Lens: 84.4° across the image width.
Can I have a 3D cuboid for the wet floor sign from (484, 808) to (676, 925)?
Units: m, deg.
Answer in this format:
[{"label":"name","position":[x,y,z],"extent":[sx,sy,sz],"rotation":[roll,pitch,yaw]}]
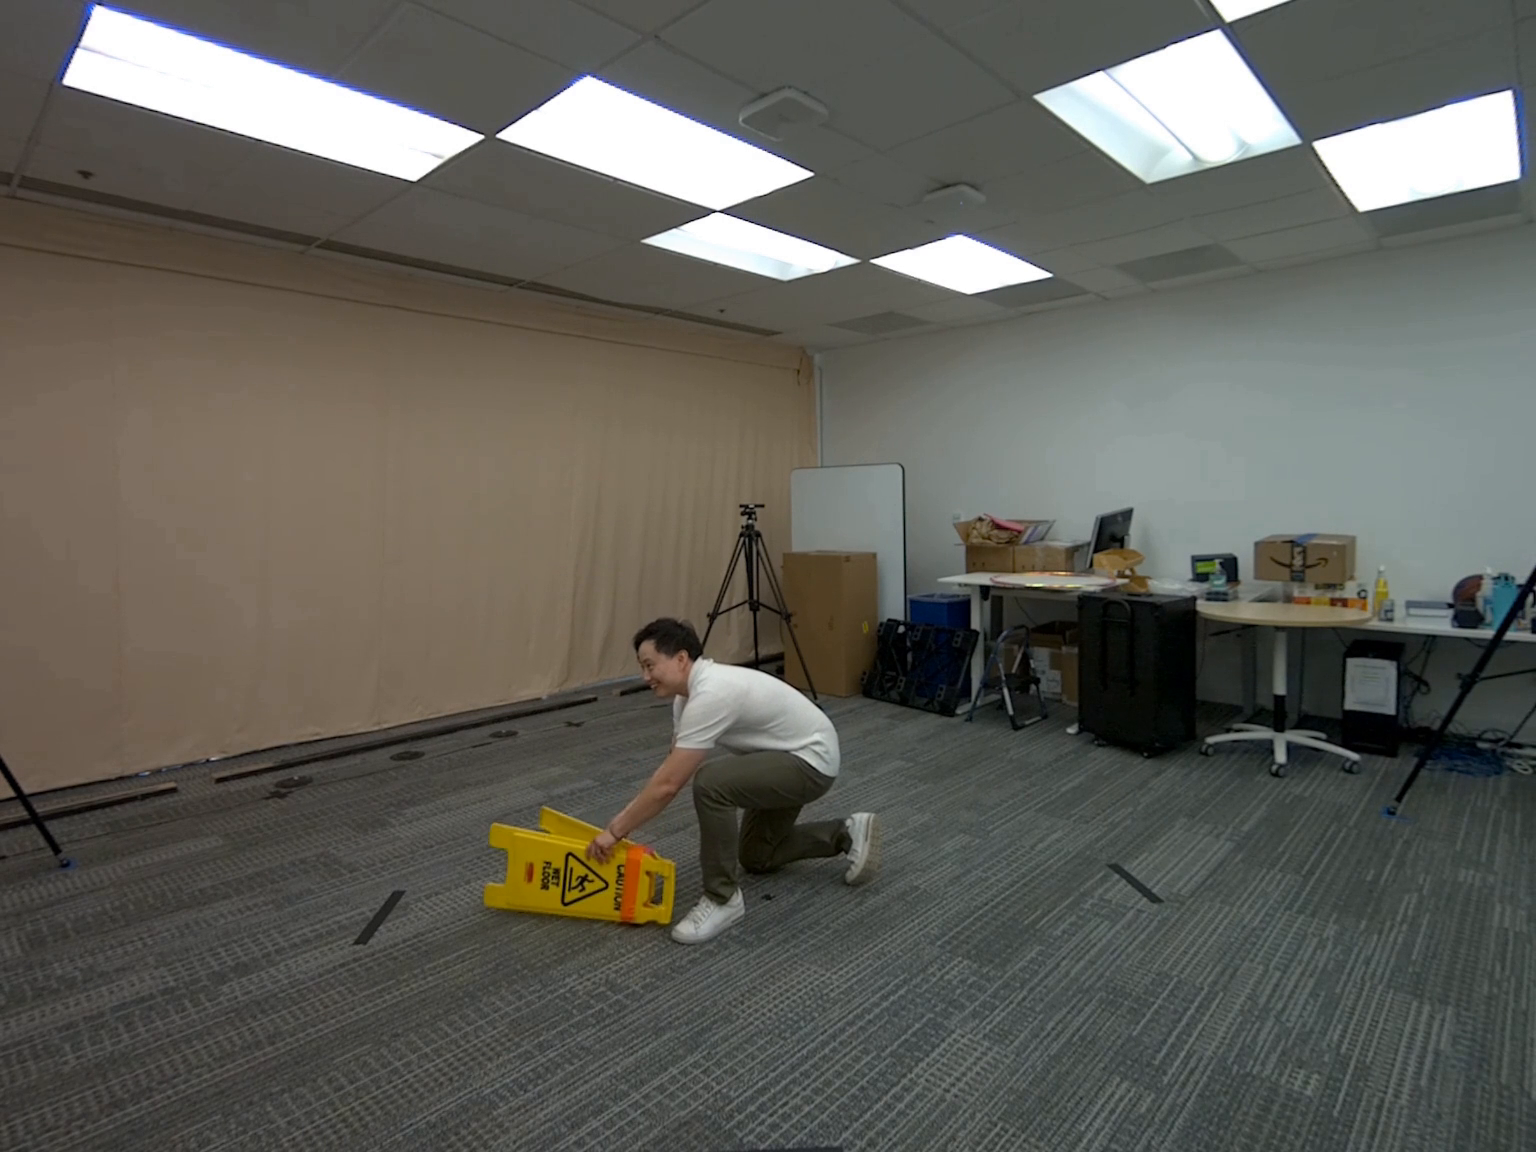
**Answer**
[{"label":"wet floor sign","position":[-0.606,1.024,2.900],"extent":[0.661,0.282,0.283],"rotation":[5,-2,22]}]
